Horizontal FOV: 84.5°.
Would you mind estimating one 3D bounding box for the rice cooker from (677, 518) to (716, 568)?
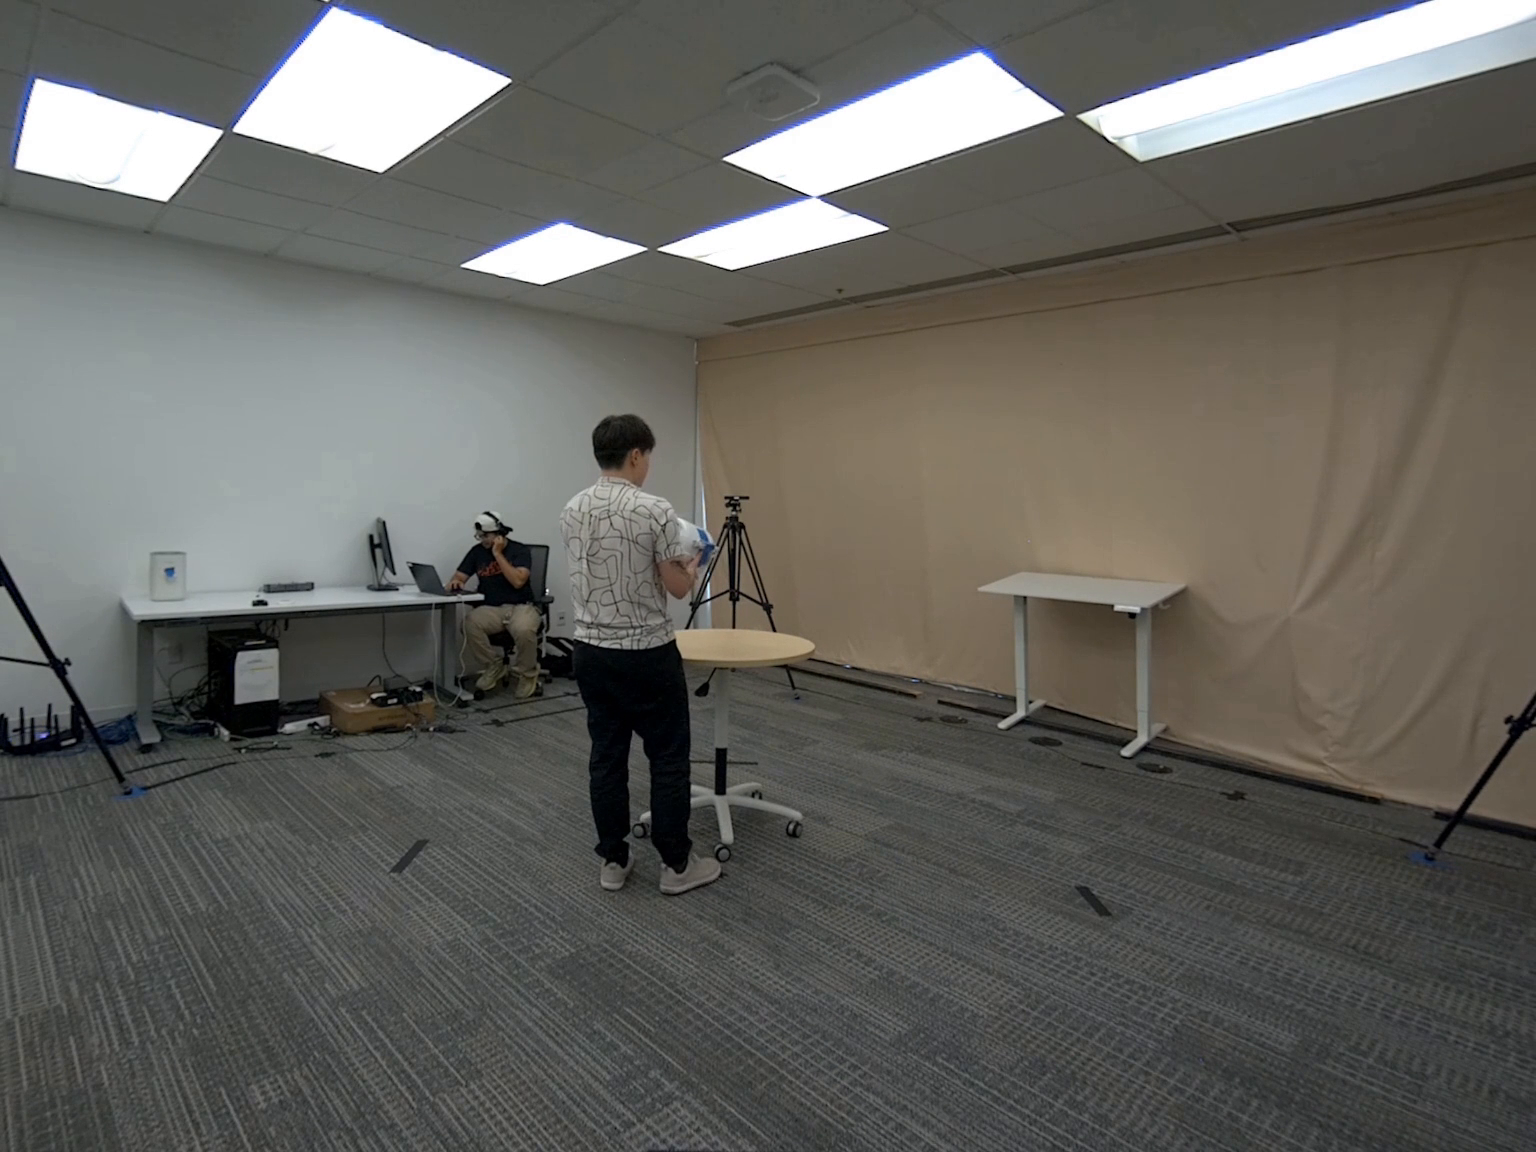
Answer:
[{"bbox_3d":[-0.350,-0.111,3.276,0.226,0.217,0.227,26,21,-52],"label":"rice cooker"}]
